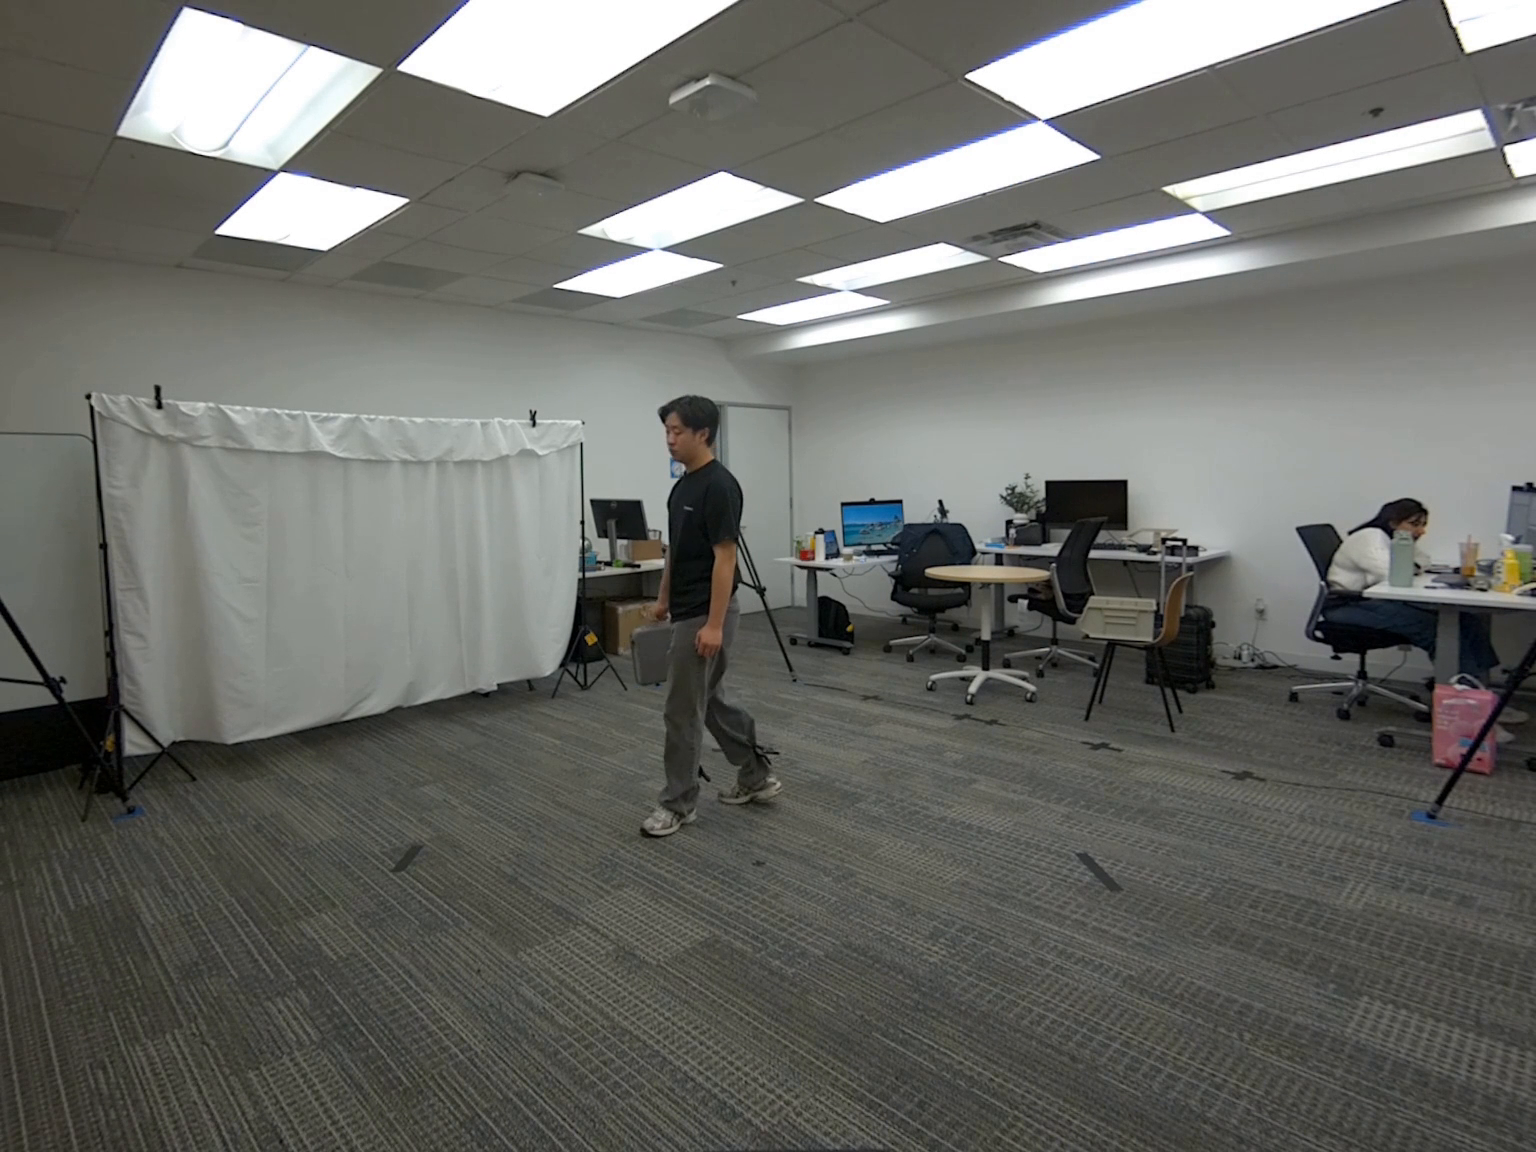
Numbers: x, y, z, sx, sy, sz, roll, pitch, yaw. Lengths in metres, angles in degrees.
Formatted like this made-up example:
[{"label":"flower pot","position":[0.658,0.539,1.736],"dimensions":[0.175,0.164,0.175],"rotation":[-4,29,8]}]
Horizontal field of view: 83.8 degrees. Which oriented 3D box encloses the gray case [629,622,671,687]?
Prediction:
[{"label":"gray case","position":[-0.469,0.328,3.797],"dimensions":[0.259,0.285,0.105],"rotation":[-9,7,-23]}]
